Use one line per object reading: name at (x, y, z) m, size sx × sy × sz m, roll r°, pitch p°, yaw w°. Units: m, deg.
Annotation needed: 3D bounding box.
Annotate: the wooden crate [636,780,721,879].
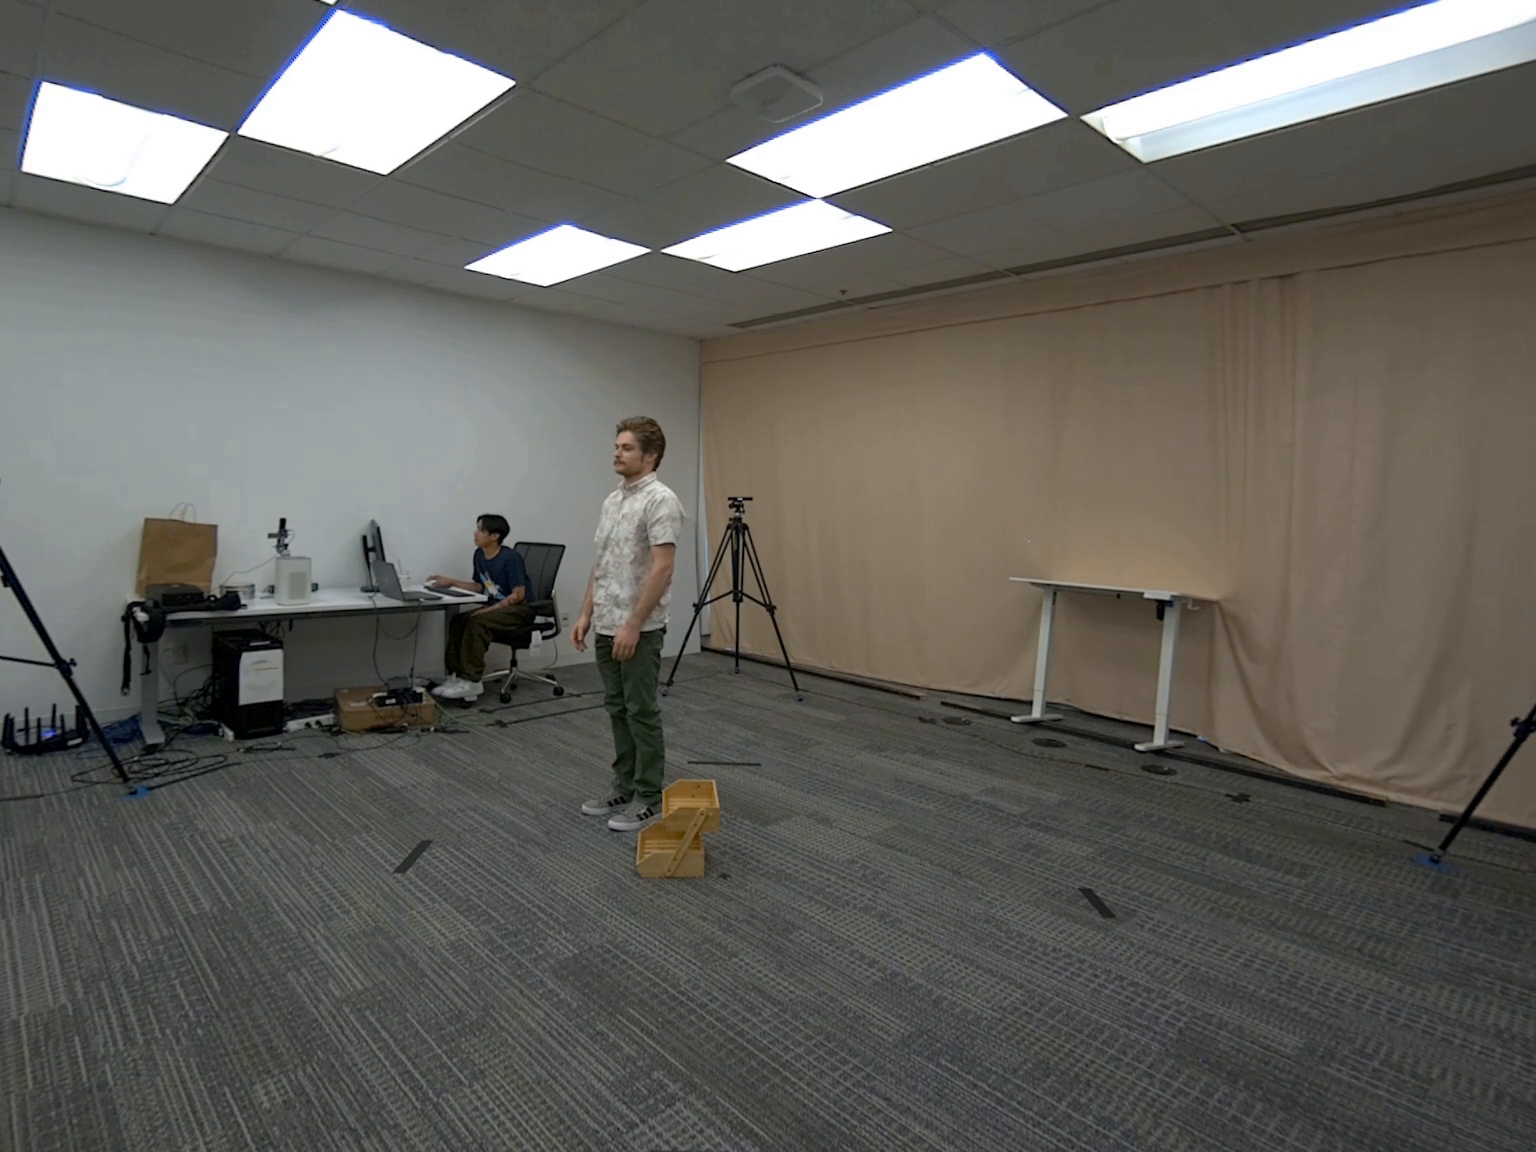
wooden crate at (-0.362, 0.958, 3.233) m, size 0.300 × 0.272 × 0.327 m, roll 1°, pitch 4°, yaw -6°
